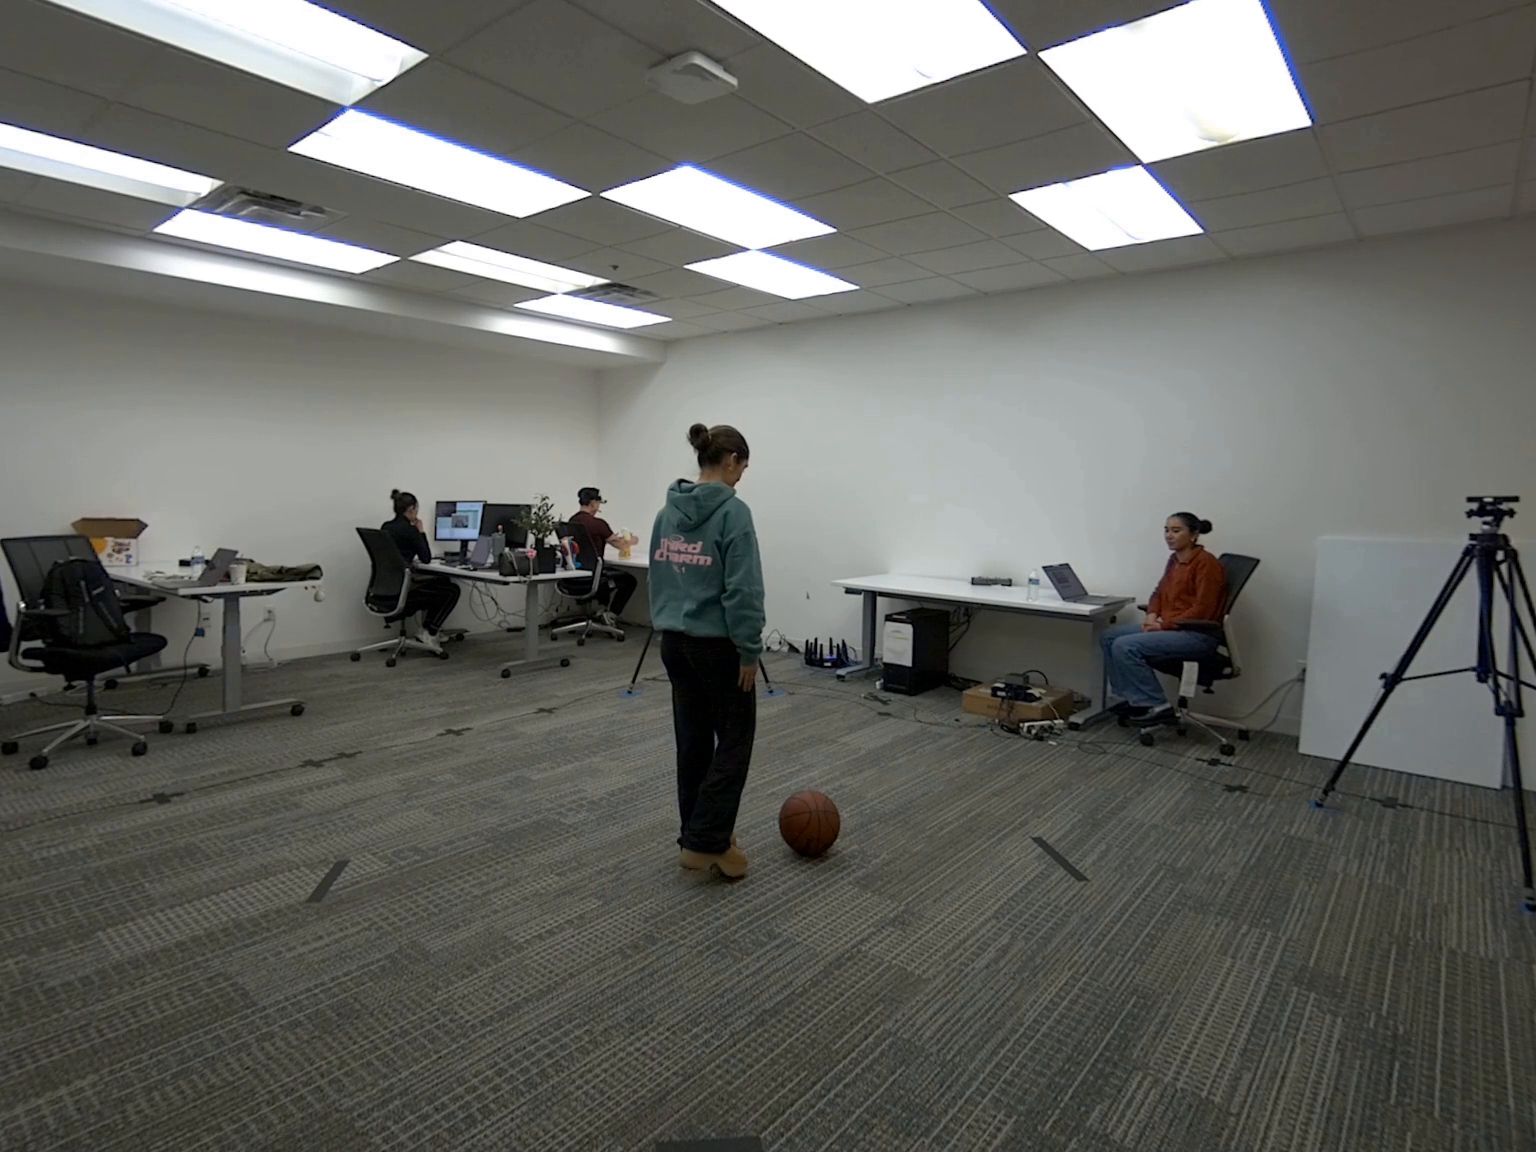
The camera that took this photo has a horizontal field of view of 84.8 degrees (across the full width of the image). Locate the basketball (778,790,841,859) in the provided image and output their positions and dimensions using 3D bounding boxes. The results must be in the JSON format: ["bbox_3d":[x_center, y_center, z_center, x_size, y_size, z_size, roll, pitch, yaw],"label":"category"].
[{"bbox_3d":[0.147,0.940,3.256,0.236,0.235,0.237,1,4,-2],"label":"basketball"}]
